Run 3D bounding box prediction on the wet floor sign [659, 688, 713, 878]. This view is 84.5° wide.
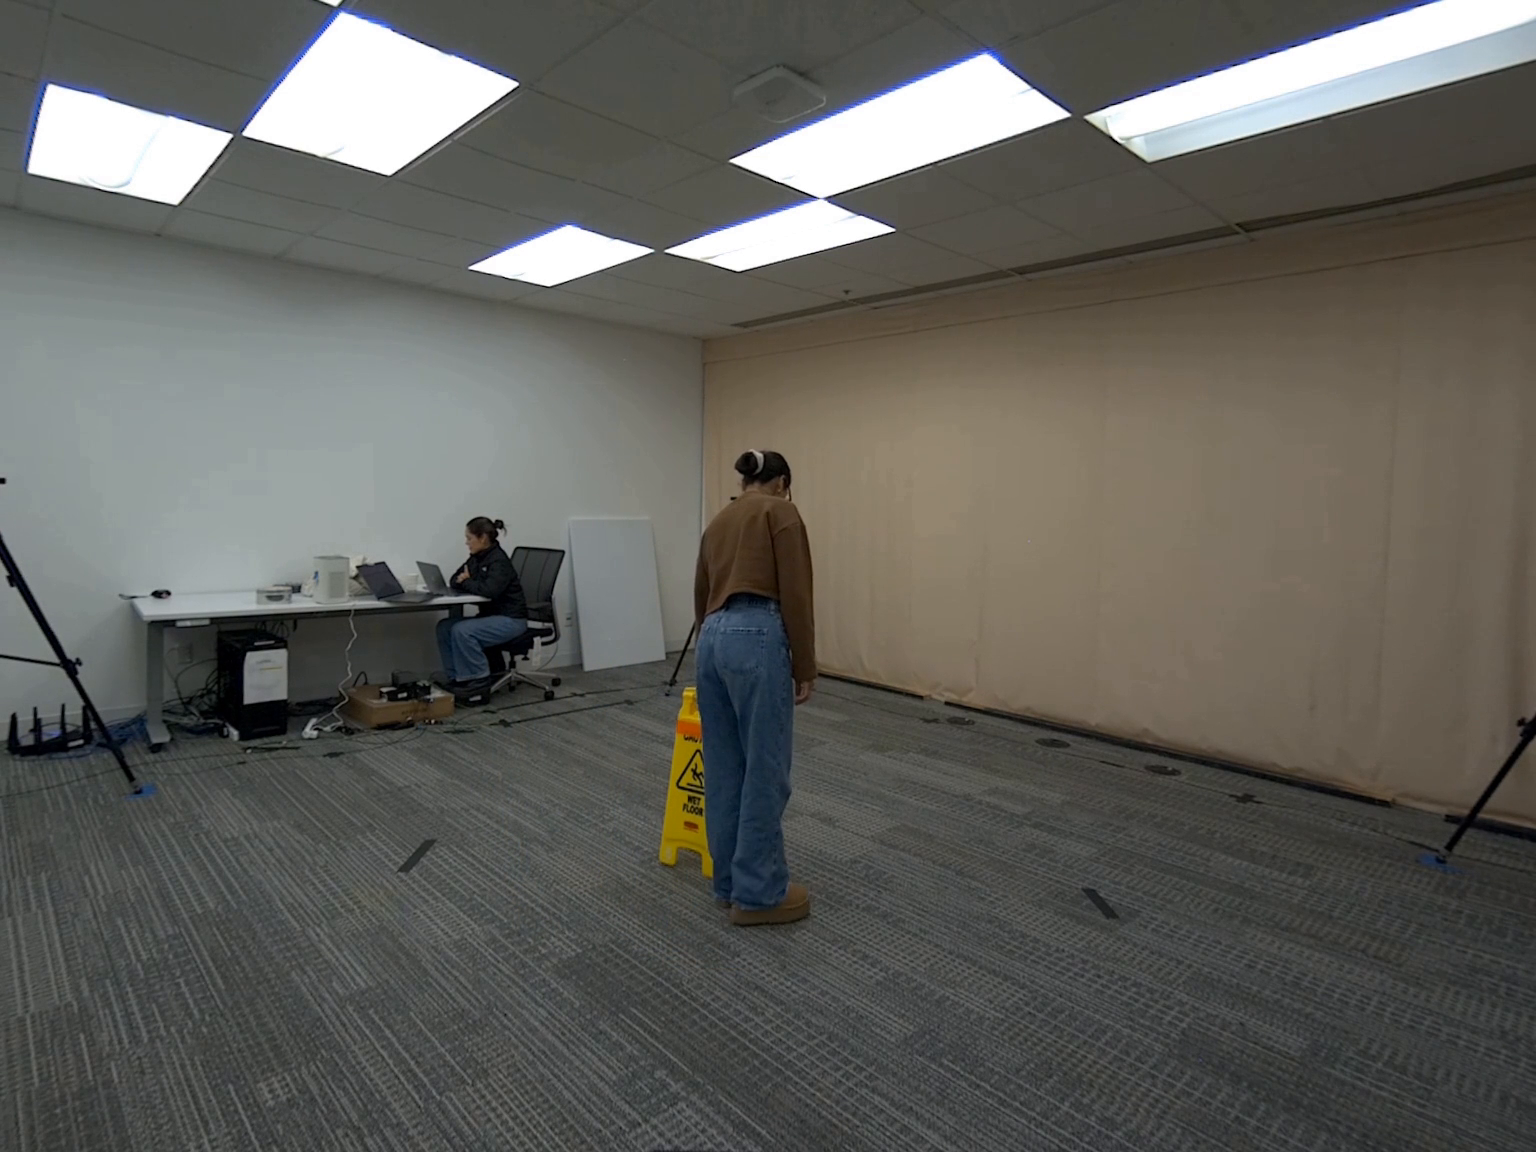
[{"bbox_3d":[-0.238,0.756,3.197,0.288,0.644,0.284,1,5,33],"label":"wet floor sign"}]
